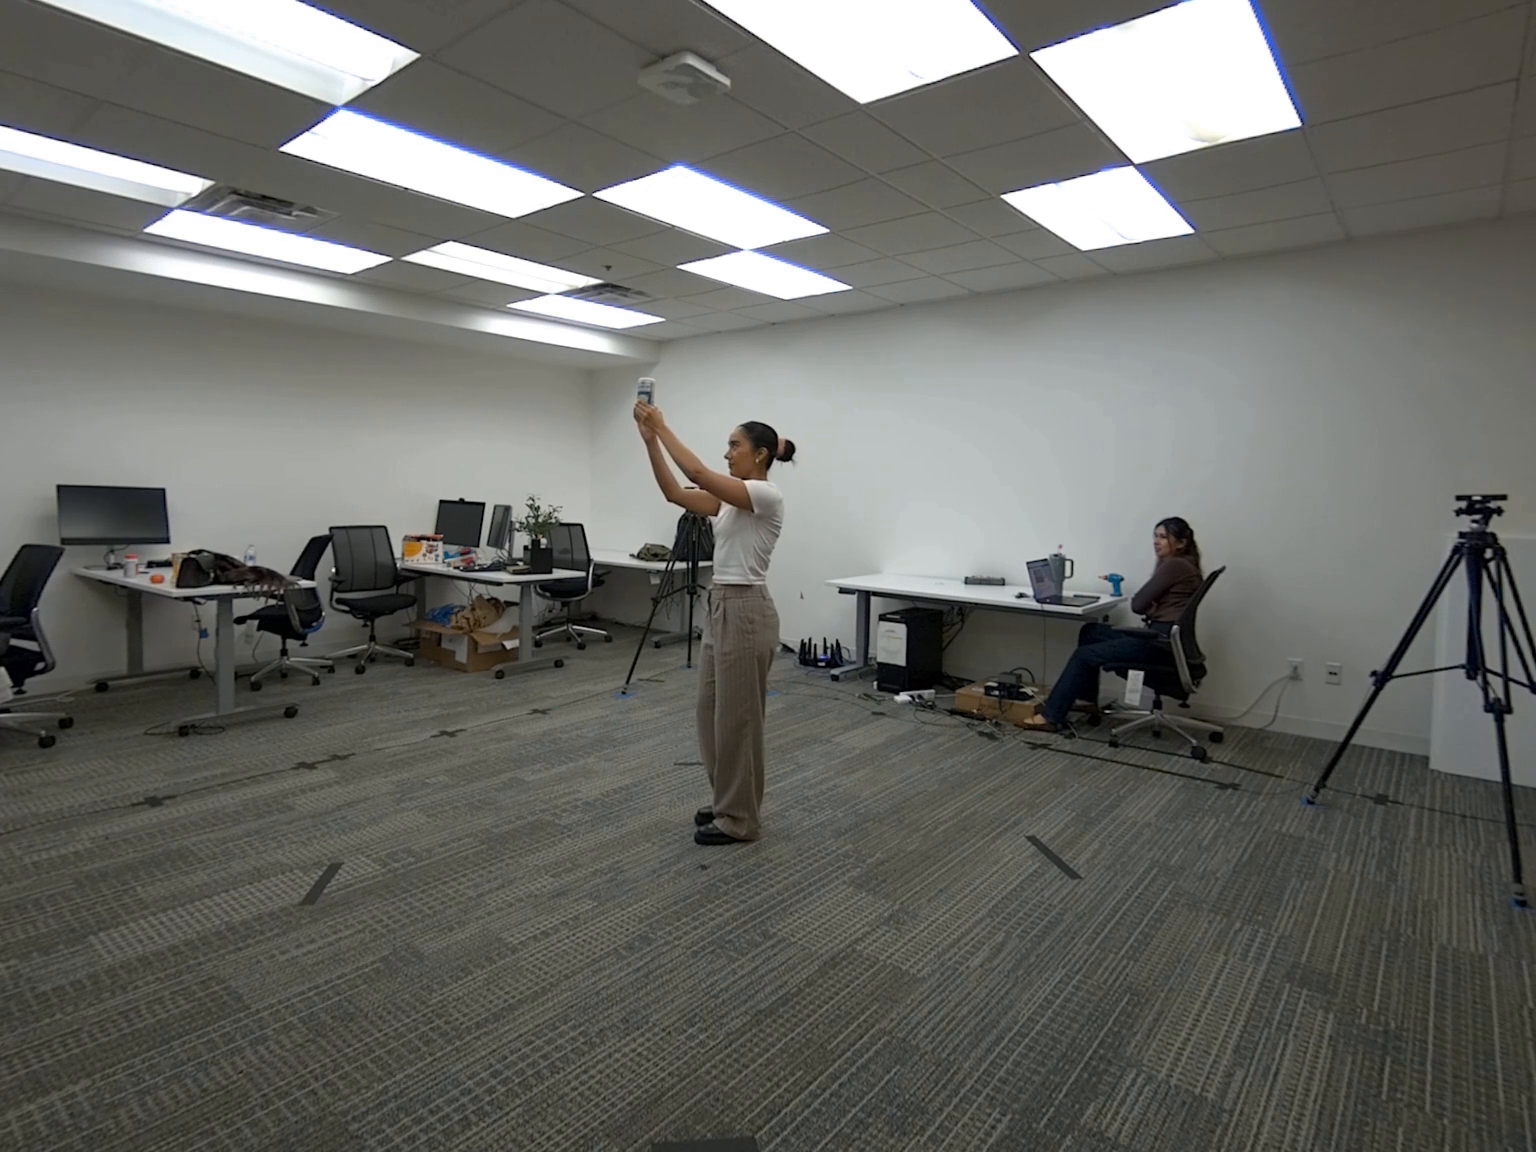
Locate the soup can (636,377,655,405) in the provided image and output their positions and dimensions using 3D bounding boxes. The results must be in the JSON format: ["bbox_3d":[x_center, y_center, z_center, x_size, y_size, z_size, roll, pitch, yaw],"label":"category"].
[{"bbox_3d":[-0.484,-0.713,3.308,0.067,0.121,0.067,2,1,-2],"label":"soup can"}]
